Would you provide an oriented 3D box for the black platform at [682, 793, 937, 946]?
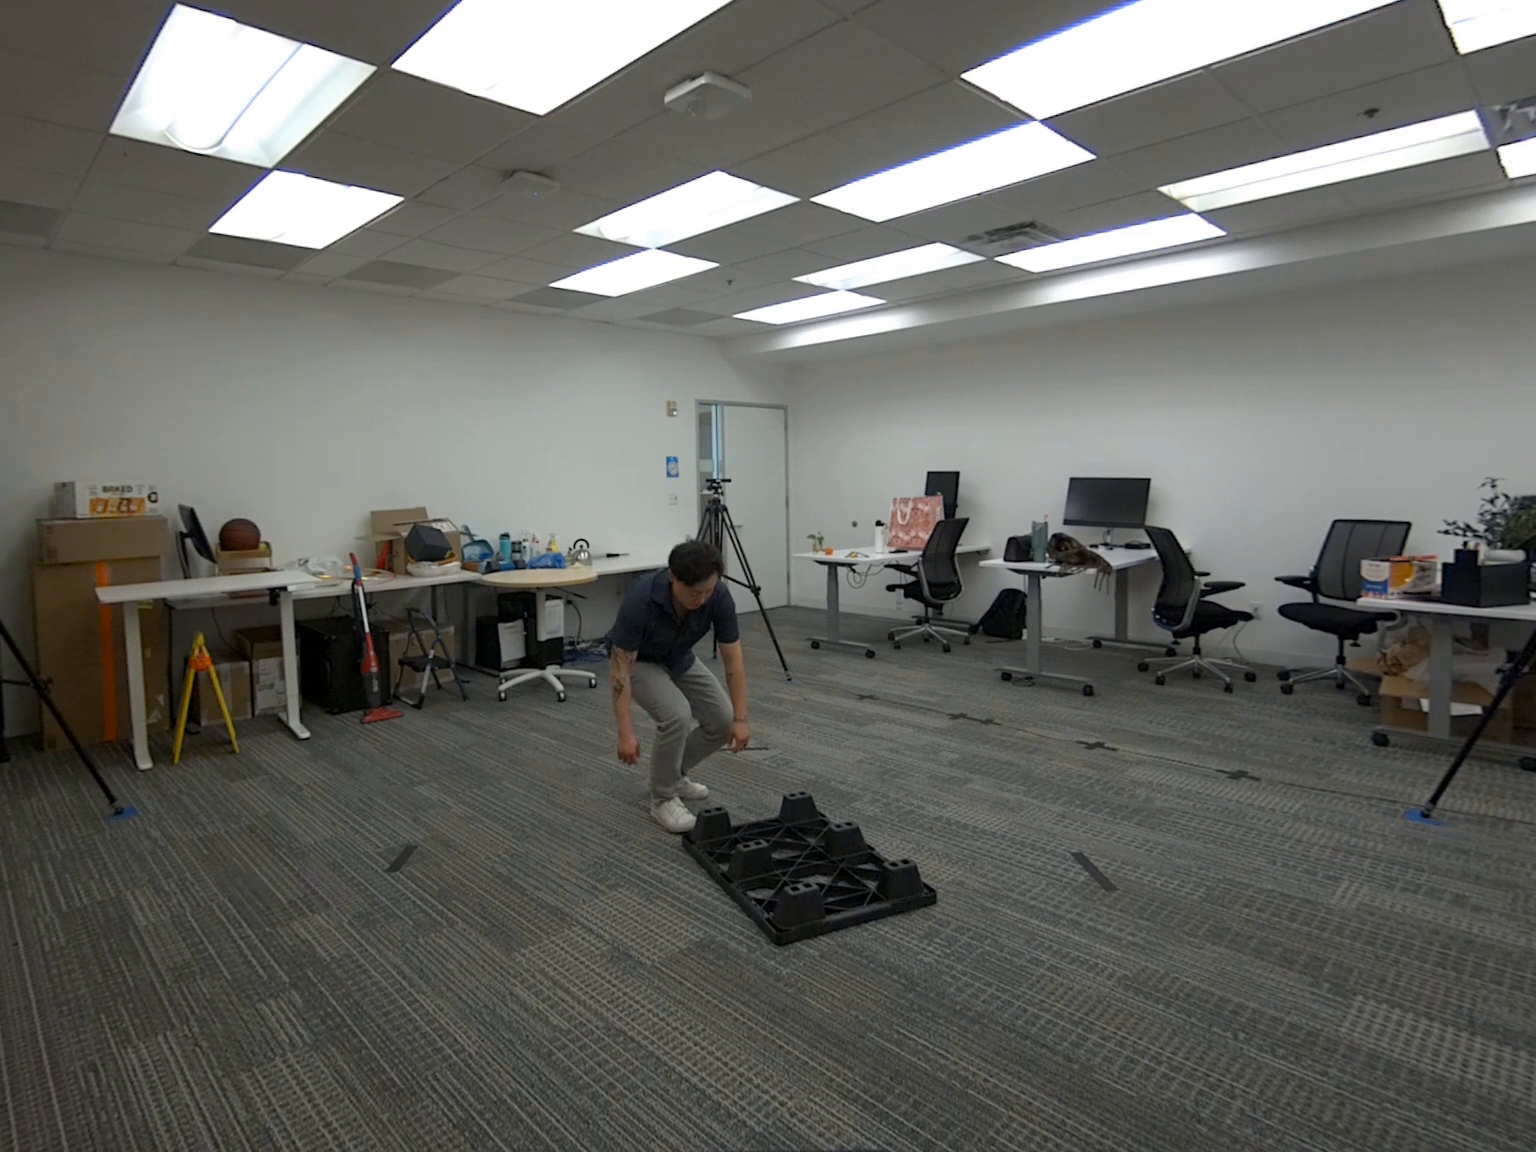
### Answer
[{"bbox_3d":[0.106,0.984,3.027,0.592,0.143,0.826,-4,7,-26],"label":"black platform"}]
